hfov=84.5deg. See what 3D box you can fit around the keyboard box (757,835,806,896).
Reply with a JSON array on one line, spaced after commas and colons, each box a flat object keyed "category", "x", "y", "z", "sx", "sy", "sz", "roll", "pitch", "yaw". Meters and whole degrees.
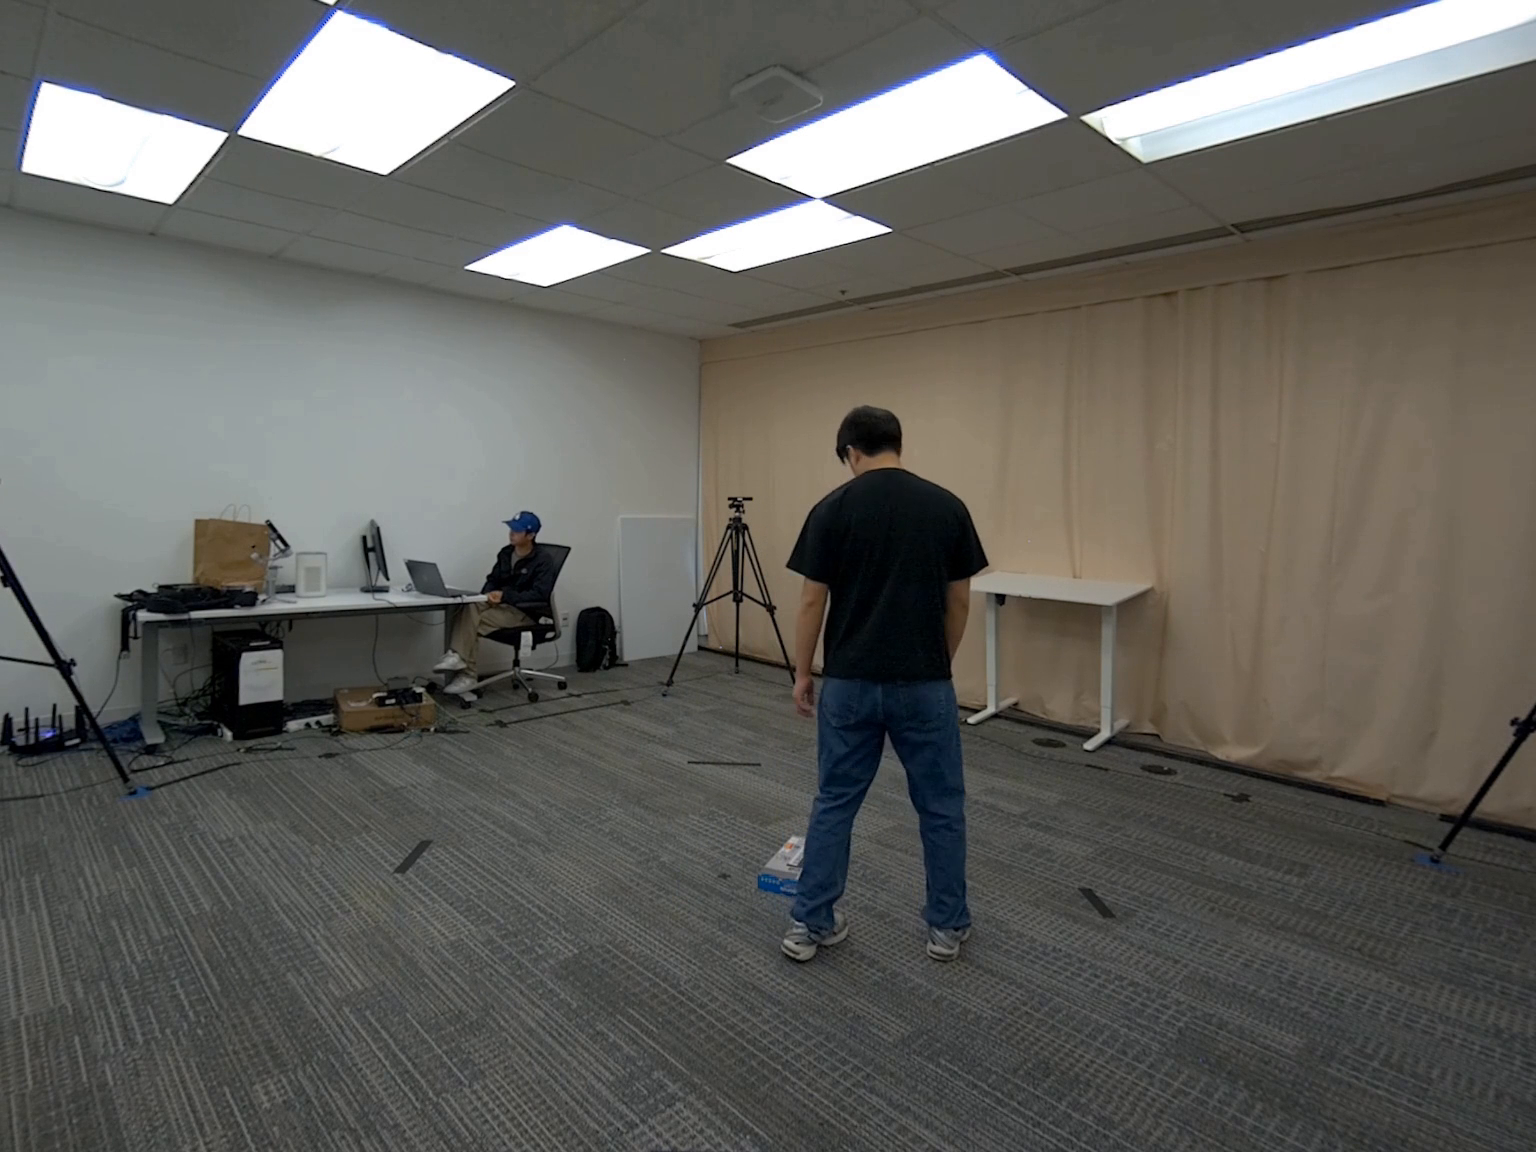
[{"category": "keyboard box", "x": 0.112, "y": 1.077, "z": 3.173, "sx": 0.179, "sy": 0.059, "sz": 0.430, "roll": 2, "pitch": 5, "yaw": 21}]
